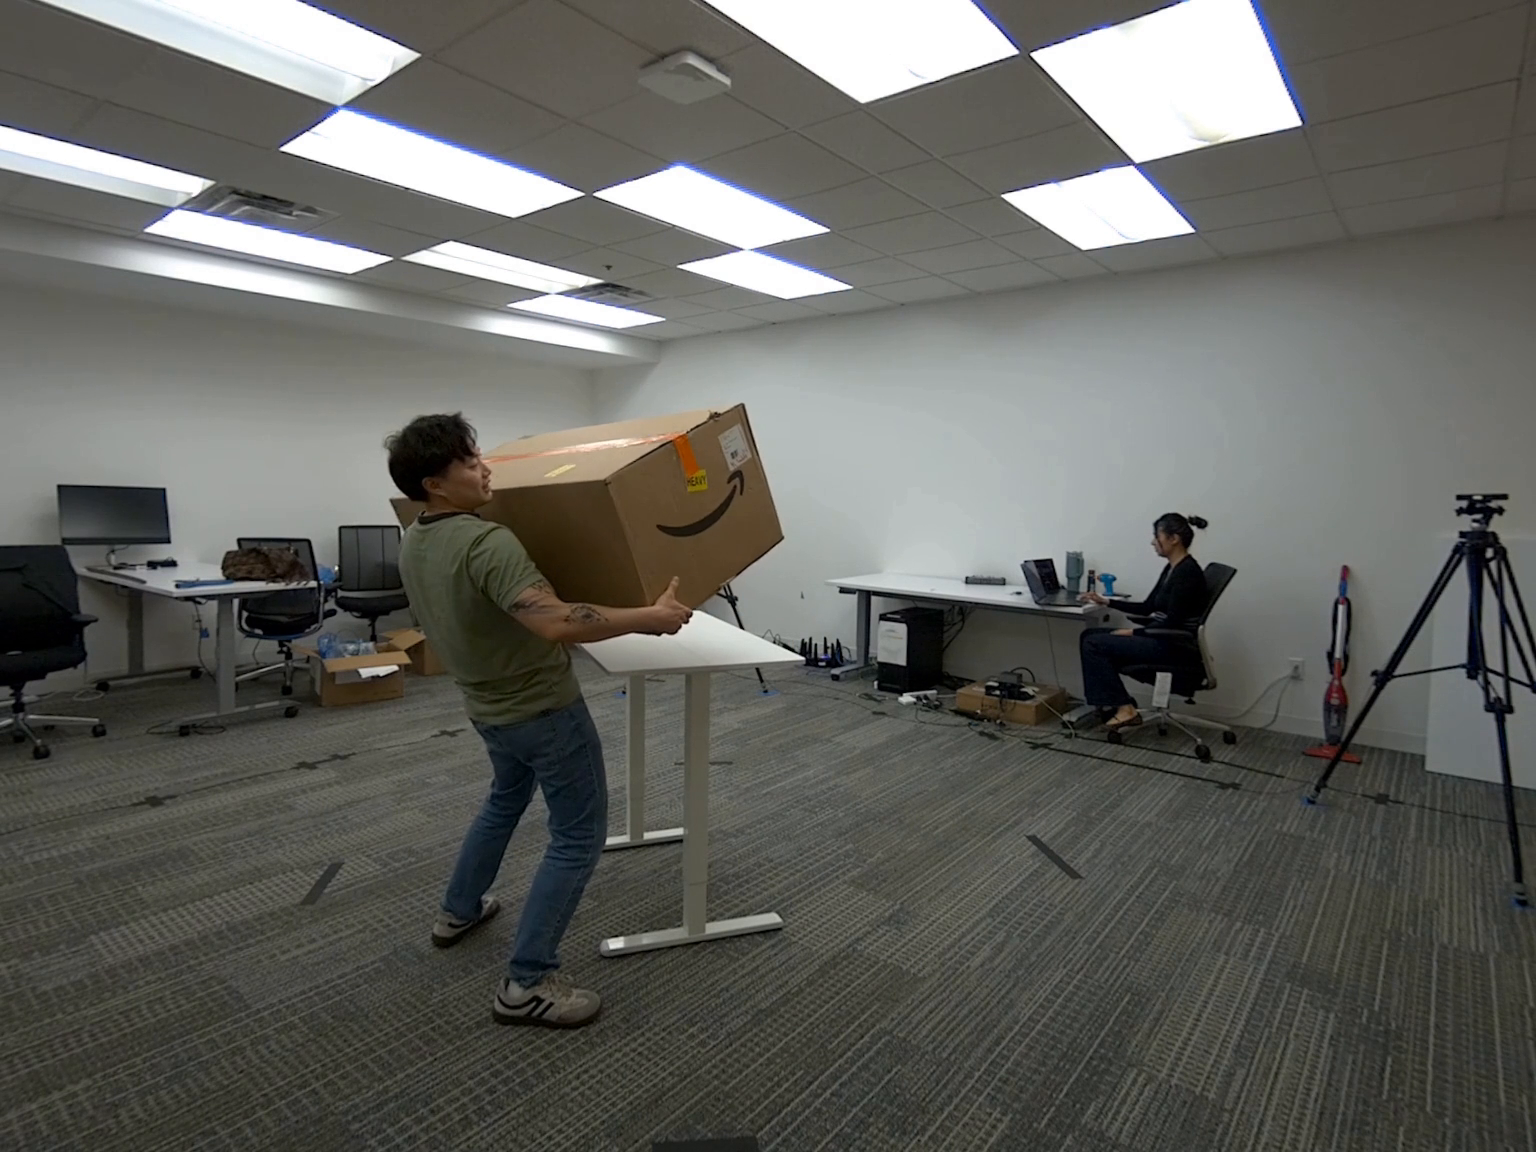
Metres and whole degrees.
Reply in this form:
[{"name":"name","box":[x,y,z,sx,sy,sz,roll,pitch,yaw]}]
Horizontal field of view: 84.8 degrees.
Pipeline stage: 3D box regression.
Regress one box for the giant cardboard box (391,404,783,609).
[{"name":"giant cardboard box","box":[-0.577,-0.182,2.570,1.059,0.416,0.573,1,28,40]}]
